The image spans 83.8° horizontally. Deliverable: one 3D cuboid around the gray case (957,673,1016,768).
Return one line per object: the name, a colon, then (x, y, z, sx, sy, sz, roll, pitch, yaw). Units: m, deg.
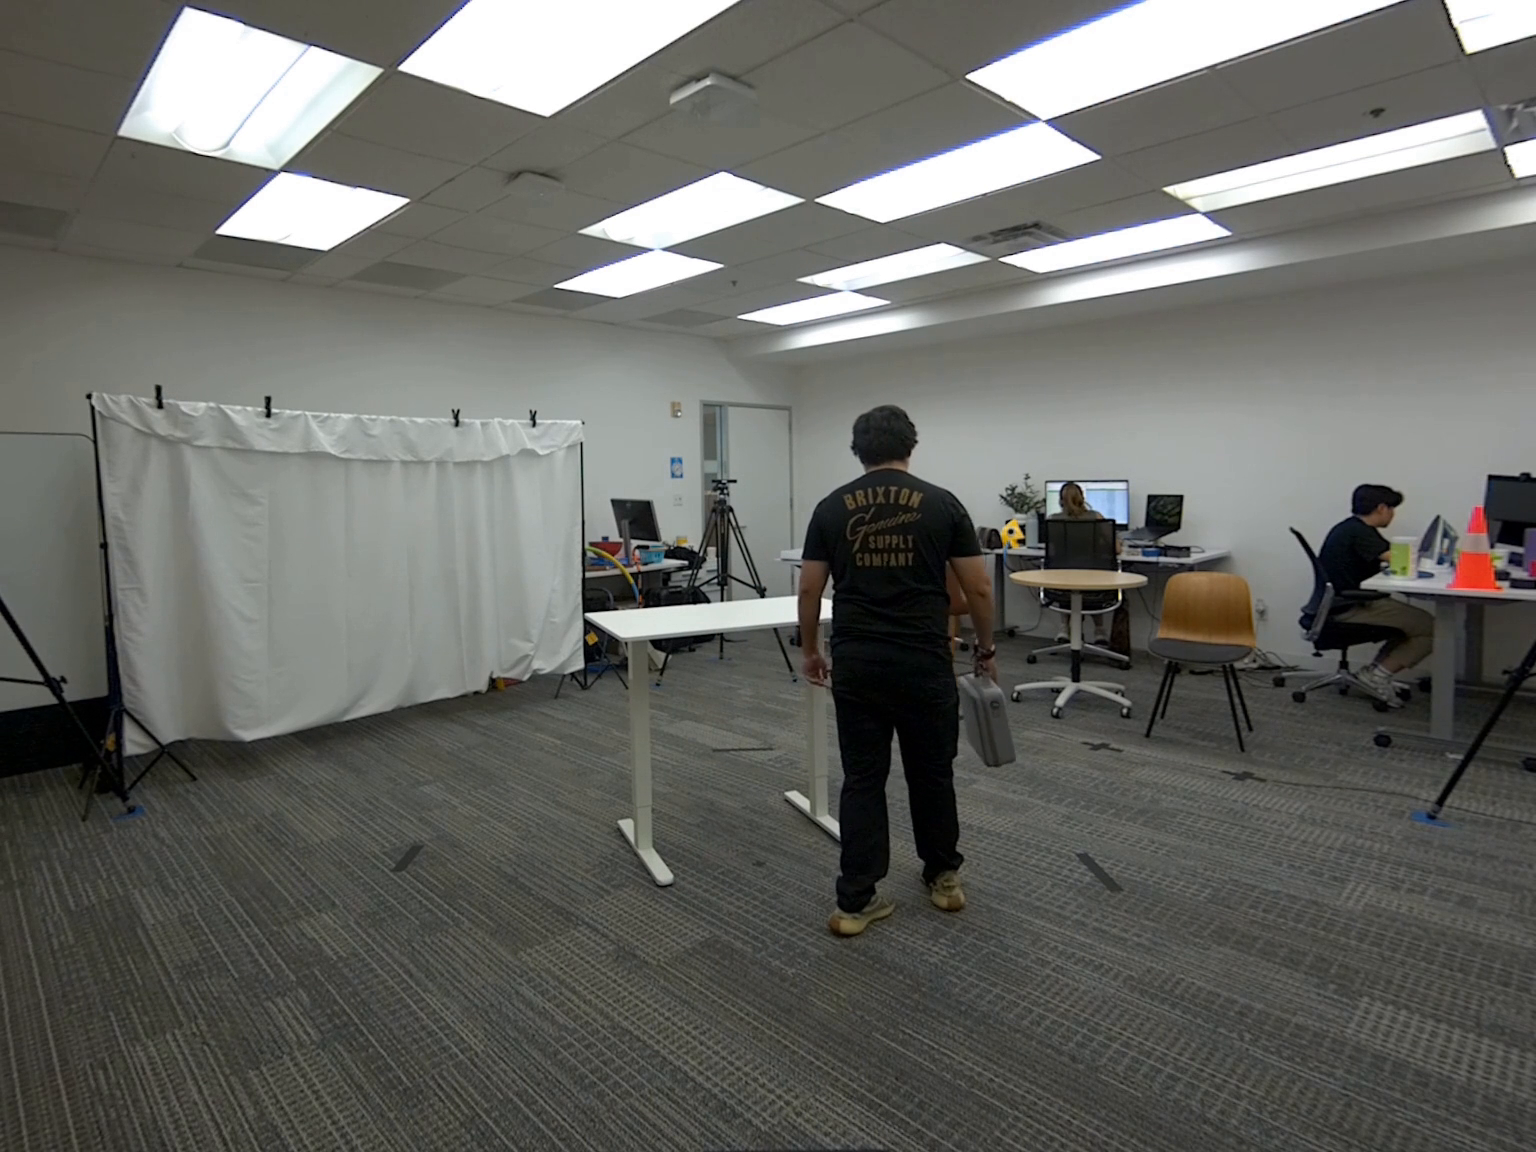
gray case: (0.712, 0.462, 2.831, 0.104, 0.259, 0.258, -9, 6, 2)
